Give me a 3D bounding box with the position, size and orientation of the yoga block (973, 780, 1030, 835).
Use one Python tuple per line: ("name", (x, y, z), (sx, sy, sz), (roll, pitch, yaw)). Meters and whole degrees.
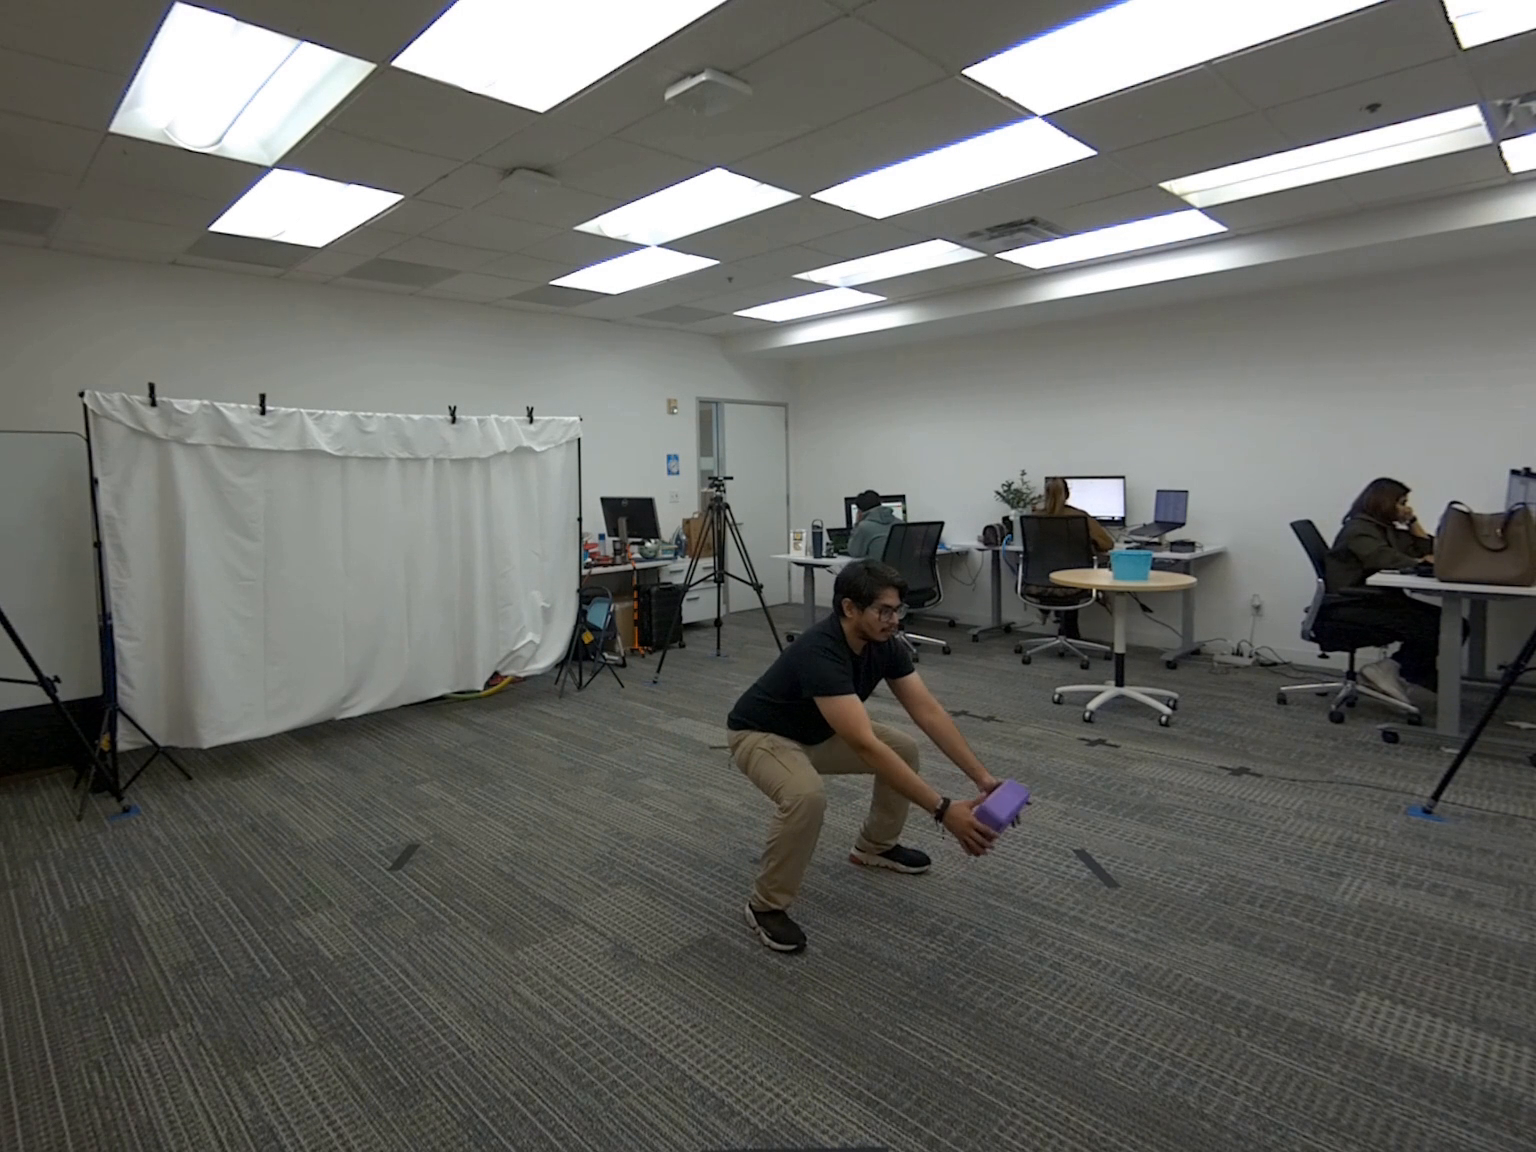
("yoga block", (0.639, 0.676, 2.412), (0.079, 0.147, 0.224), (40, 31, 28))
